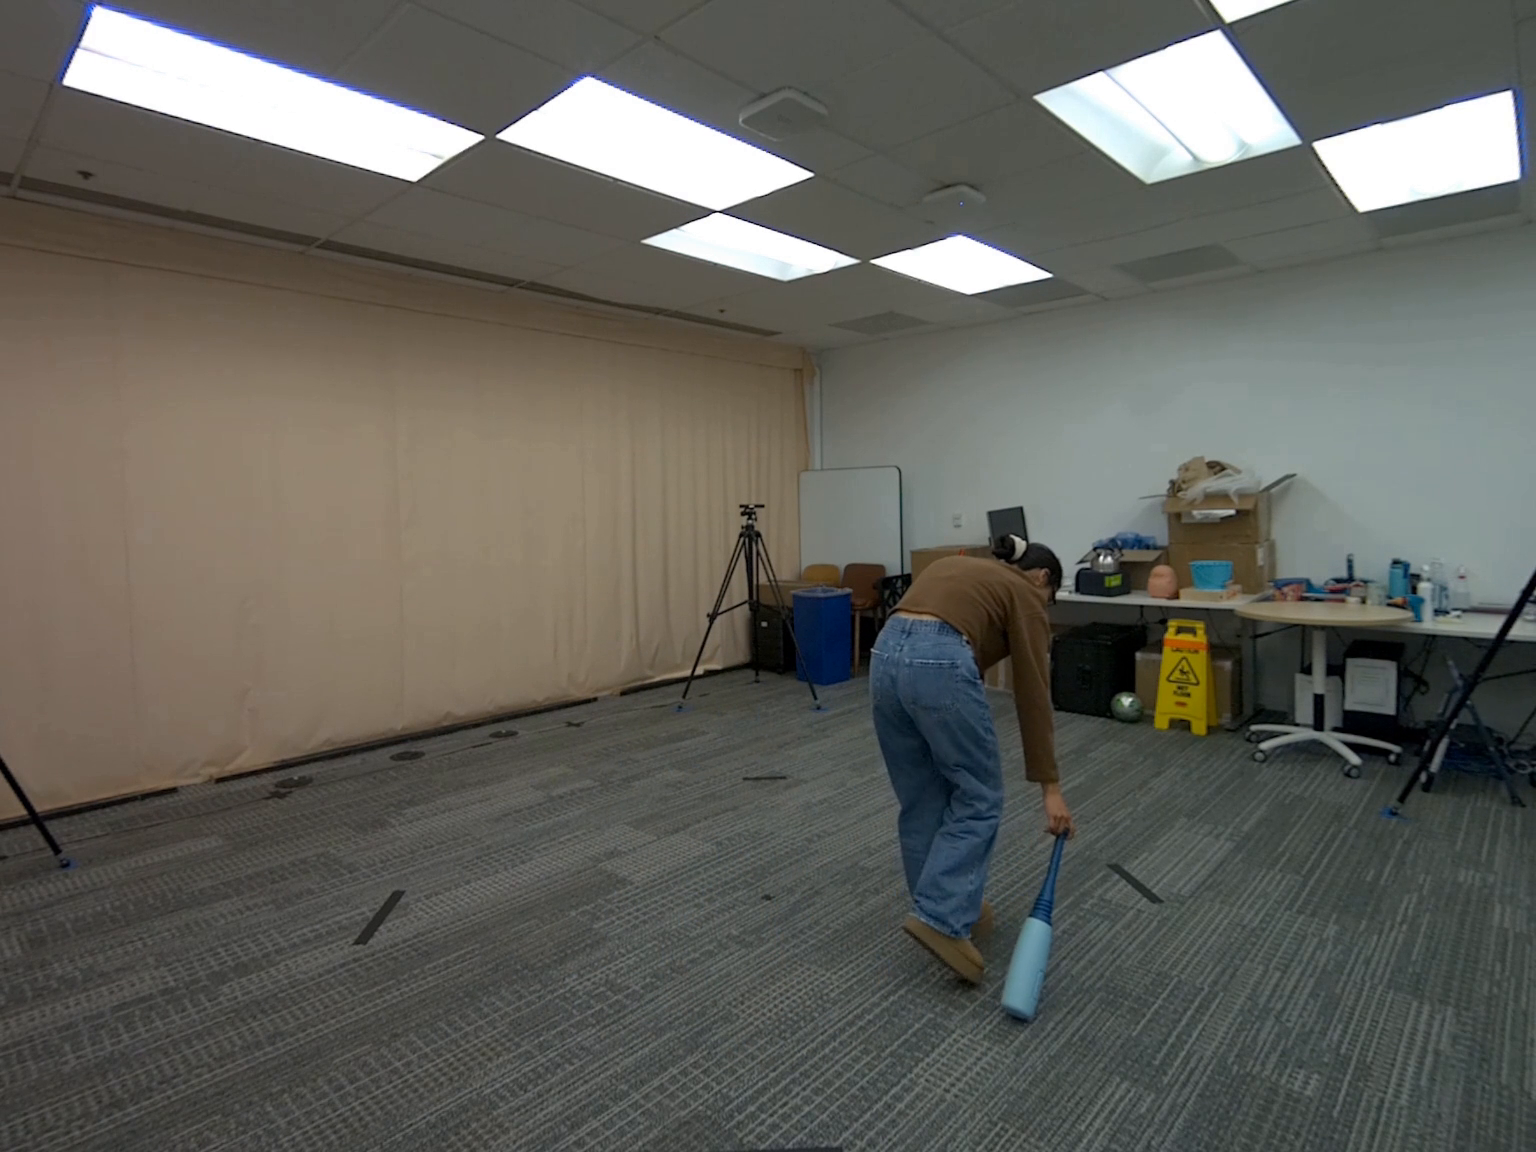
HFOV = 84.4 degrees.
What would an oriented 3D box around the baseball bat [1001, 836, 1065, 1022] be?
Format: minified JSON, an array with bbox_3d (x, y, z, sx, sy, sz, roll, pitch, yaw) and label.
[{"bbox_3d":[0.780,0.964,2.369,0.090,0.543,0.087,23,-29,12],"label":"baseball bat"}]
